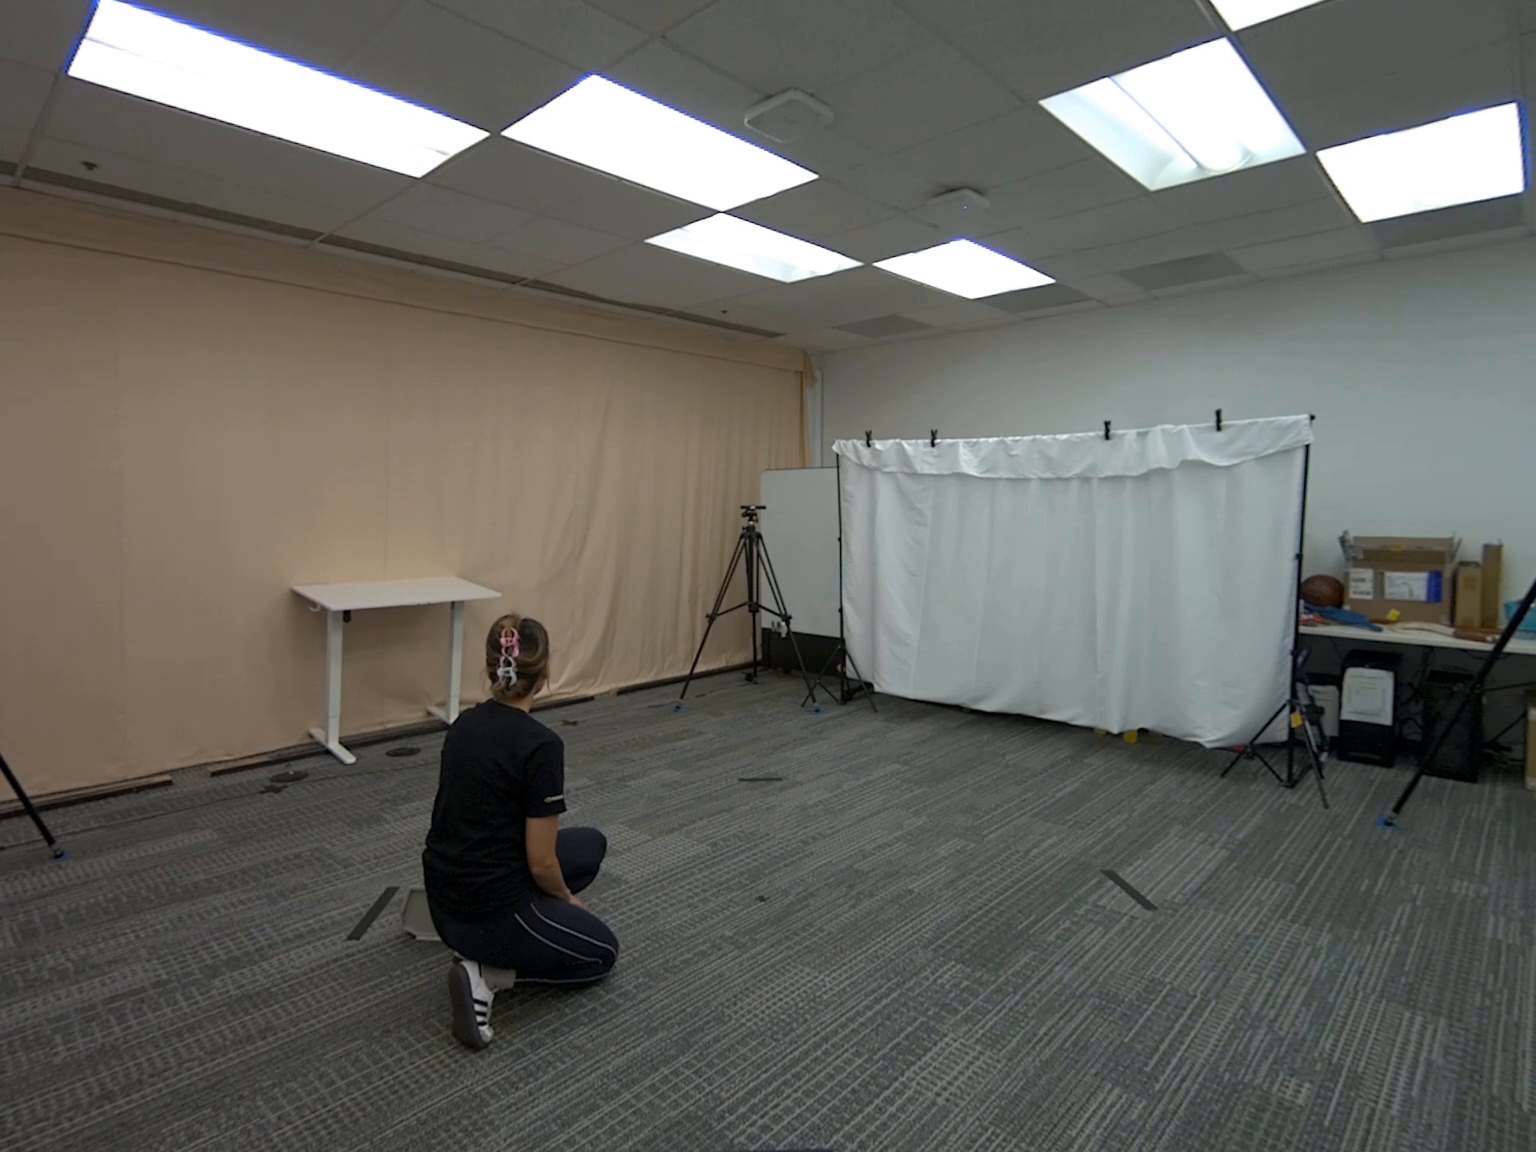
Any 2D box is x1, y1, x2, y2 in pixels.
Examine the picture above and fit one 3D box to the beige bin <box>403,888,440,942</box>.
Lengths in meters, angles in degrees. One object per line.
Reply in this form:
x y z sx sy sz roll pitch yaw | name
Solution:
-1.008 1.075 2.900 0.379 0.188 0.421 1 4 3 | beige bin
